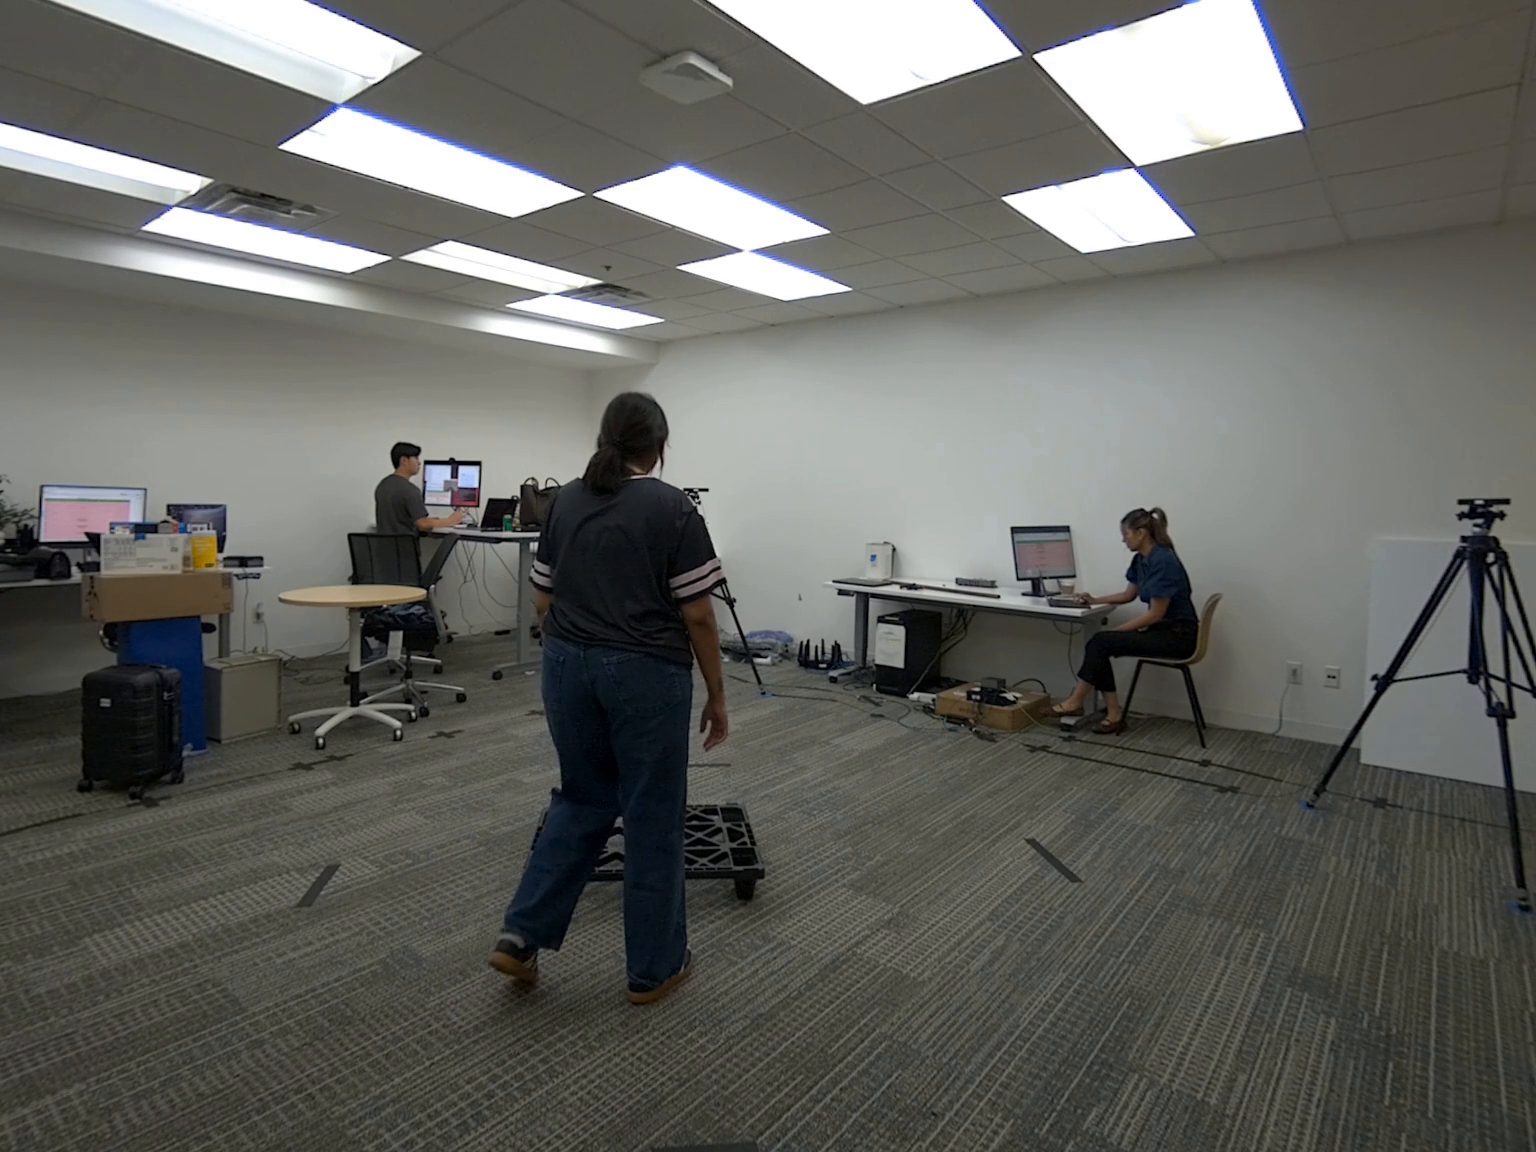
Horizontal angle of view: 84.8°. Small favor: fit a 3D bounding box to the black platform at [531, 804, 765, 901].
[{"bbox_3d":[-0.456,0.999,3.080,0.801,0.143,0.611,0,5,-6],"label":"black platform"}]
